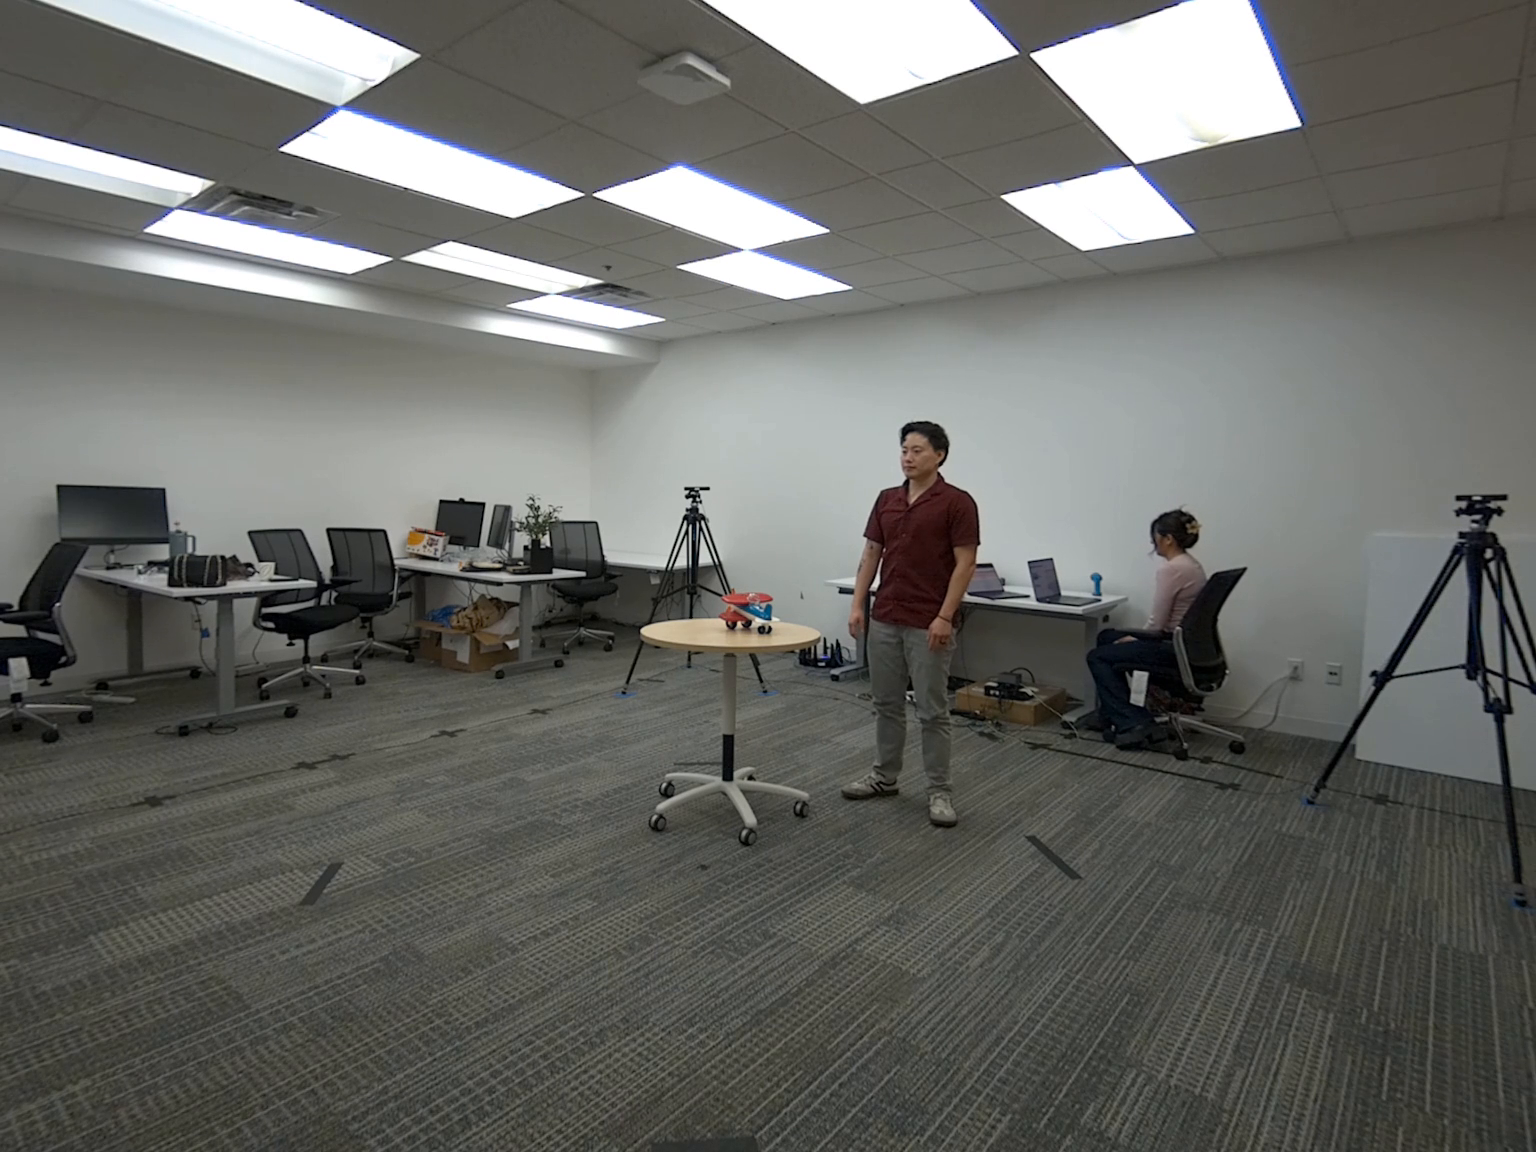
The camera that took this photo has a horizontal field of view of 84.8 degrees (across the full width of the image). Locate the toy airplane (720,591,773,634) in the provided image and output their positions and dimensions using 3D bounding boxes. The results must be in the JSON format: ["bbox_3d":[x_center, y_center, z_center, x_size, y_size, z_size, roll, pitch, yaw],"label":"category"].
[{"bbox_3d":[-0.069,0.153,3.661,0.266,0.156,0.245,2,3,26],"label":"toy airplane"}]
